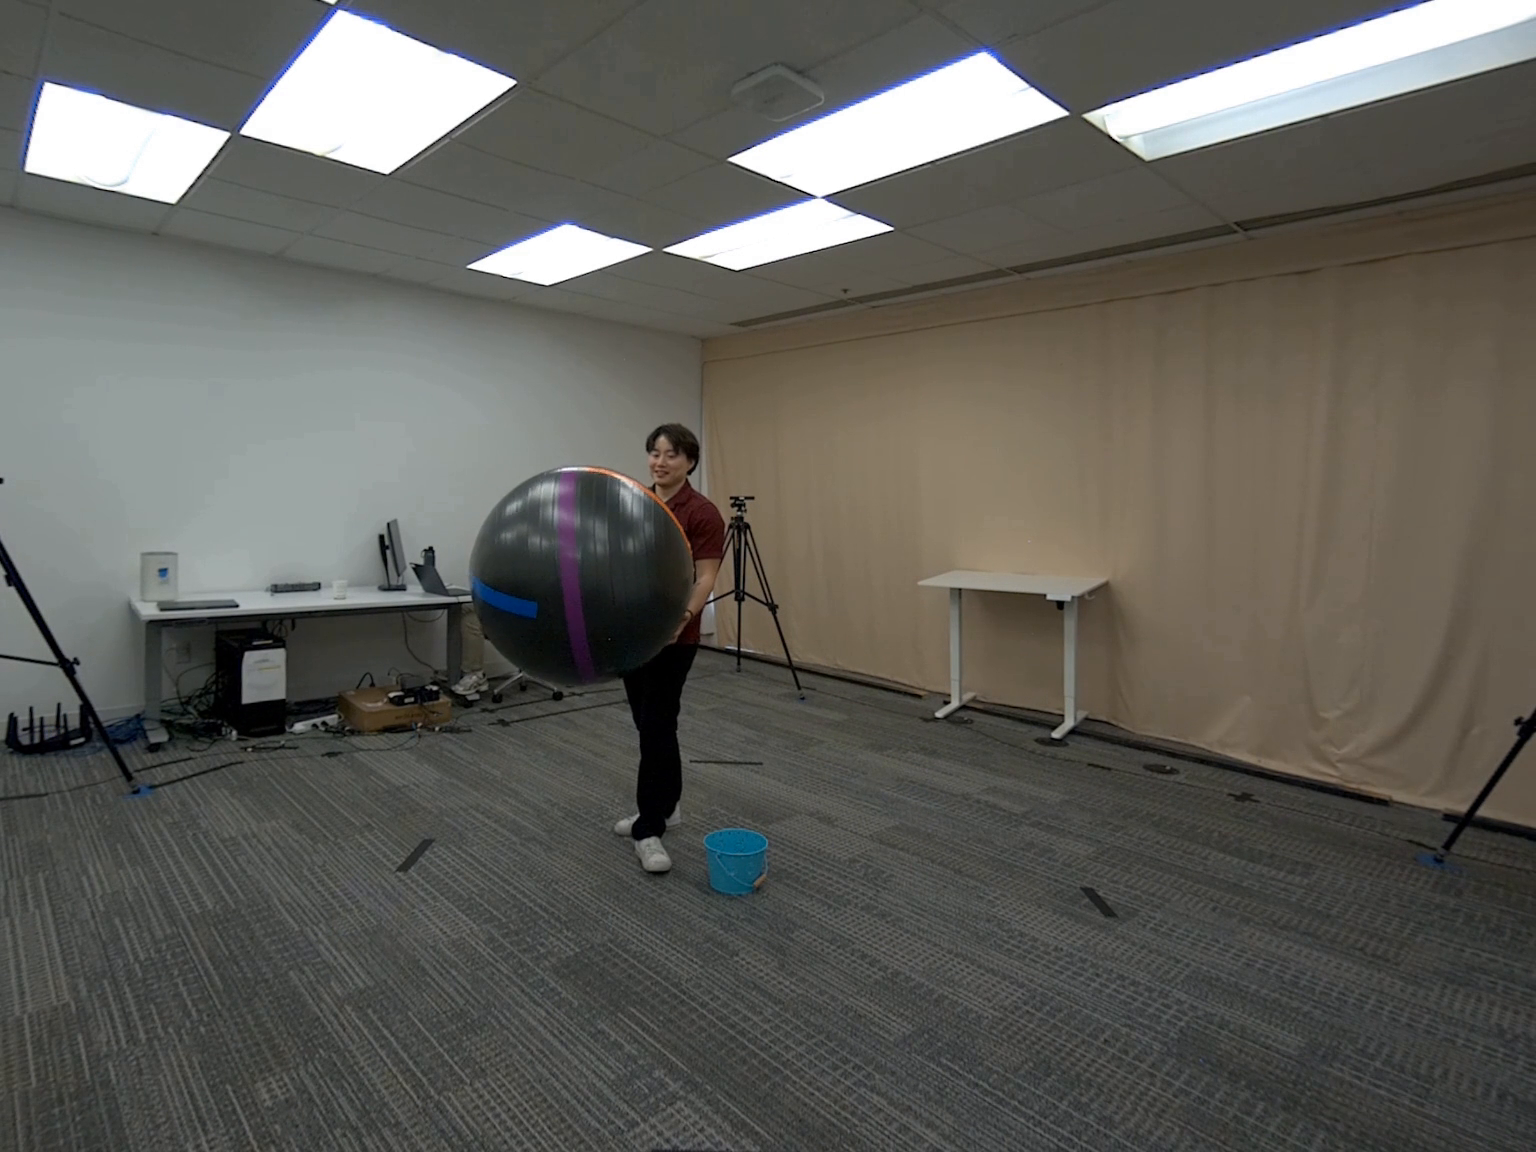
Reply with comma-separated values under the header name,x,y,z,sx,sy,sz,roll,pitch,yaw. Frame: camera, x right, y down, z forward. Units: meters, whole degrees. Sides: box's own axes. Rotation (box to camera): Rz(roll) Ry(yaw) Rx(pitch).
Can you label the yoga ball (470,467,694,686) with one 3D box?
name,x,y,z,sx,sy,sz,roll,pitch,yaw
yoga ball,-0.649,0.004,2.923,0.757,0.756,0.761,1,4,-1
